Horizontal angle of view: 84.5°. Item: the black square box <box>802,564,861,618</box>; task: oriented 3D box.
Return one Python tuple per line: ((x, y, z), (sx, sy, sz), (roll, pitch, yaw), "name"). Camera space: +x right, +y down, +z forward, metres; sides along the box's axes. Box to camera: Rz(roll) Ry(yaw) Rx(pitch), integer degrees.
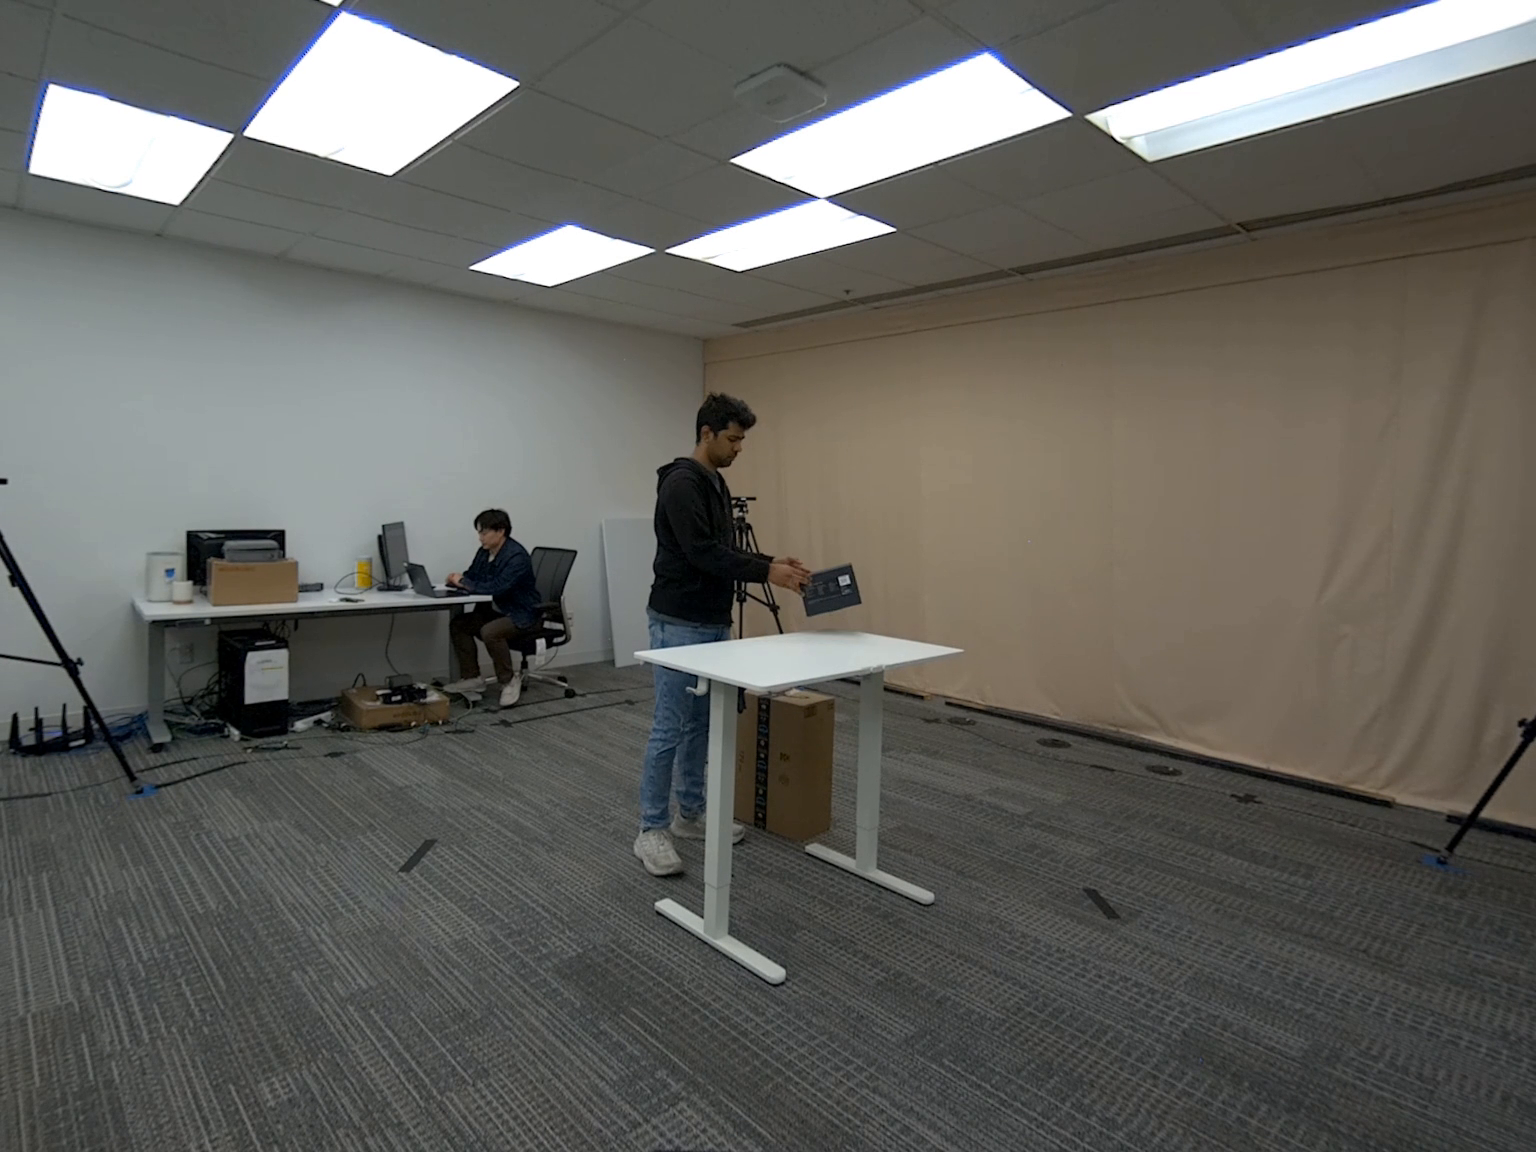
((0.228, 0.052, 3.319), (0.218, 0.156, 0.226), (-9, -1, 10), "black square box")
